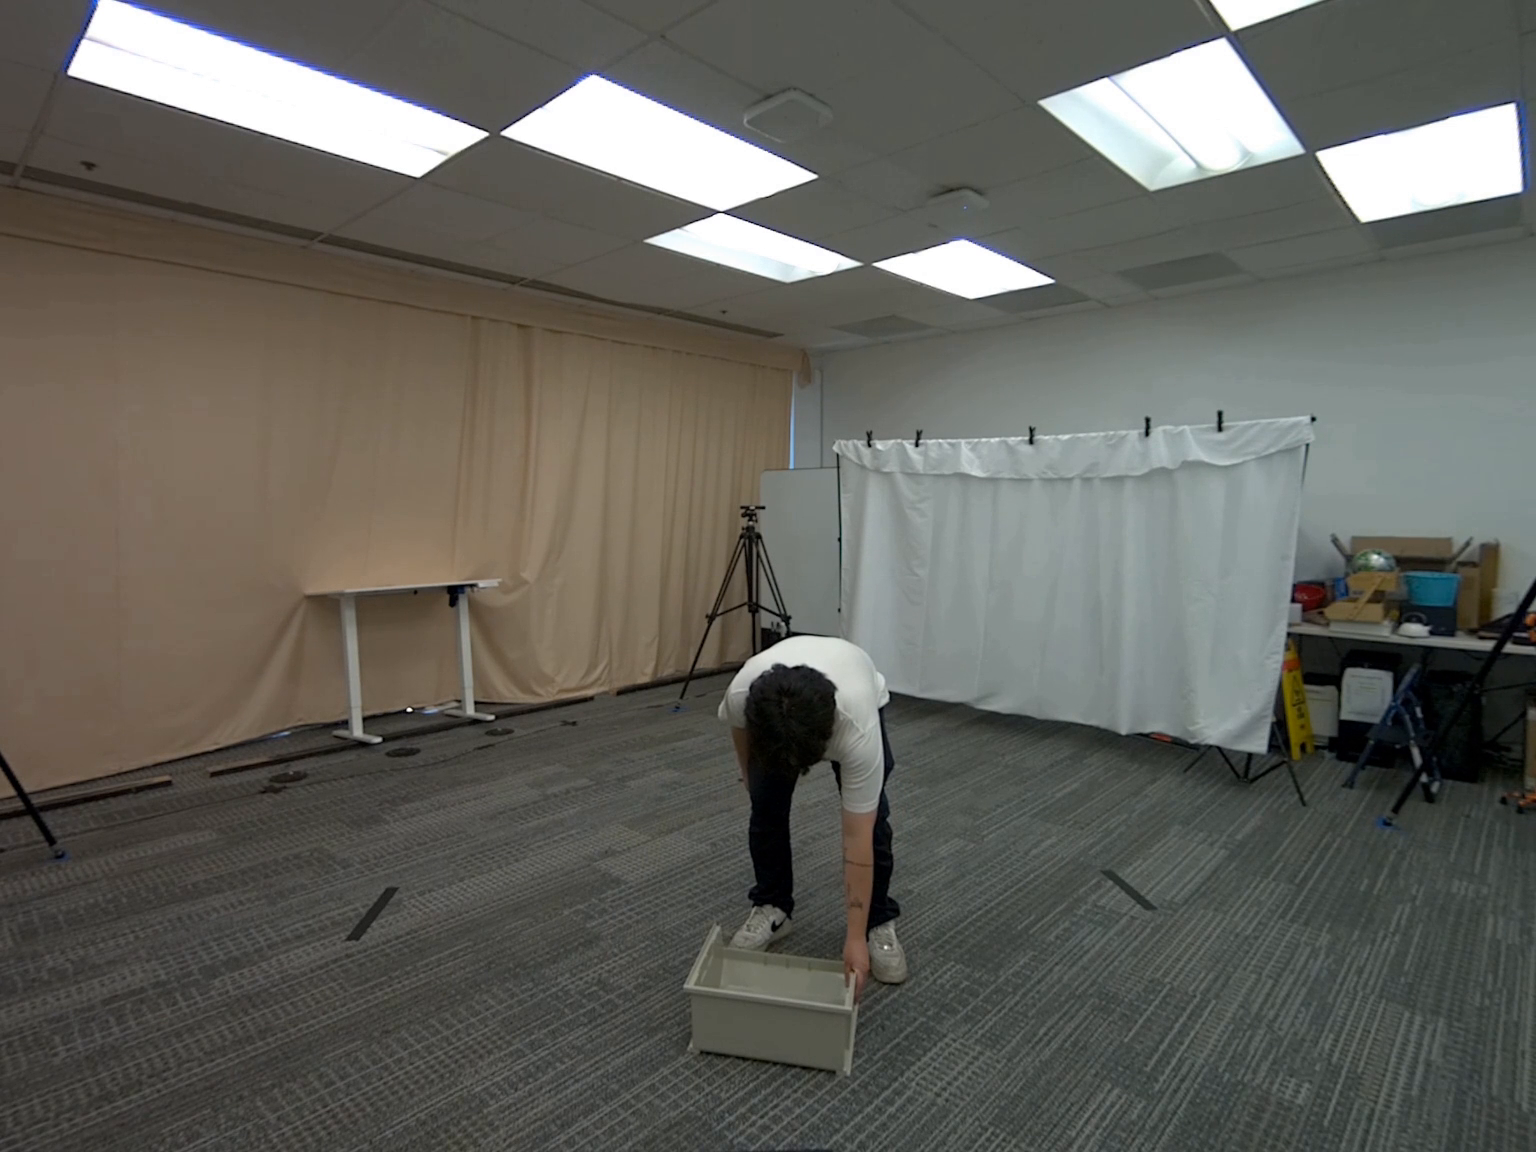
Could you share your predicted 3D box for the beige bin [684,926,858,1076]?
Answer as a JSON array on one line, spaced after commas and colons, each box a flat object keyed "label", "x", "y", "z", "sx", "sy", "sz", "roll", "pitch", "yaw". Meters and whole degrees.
[{"label": "beige bin", "x": 0.027, "y": 1.114, "z": 2.265, "sx": 0.428, "sy": 0.188, "sz": 0.373, "roll": 1, "pitch": 5, "yaw": 12}]
